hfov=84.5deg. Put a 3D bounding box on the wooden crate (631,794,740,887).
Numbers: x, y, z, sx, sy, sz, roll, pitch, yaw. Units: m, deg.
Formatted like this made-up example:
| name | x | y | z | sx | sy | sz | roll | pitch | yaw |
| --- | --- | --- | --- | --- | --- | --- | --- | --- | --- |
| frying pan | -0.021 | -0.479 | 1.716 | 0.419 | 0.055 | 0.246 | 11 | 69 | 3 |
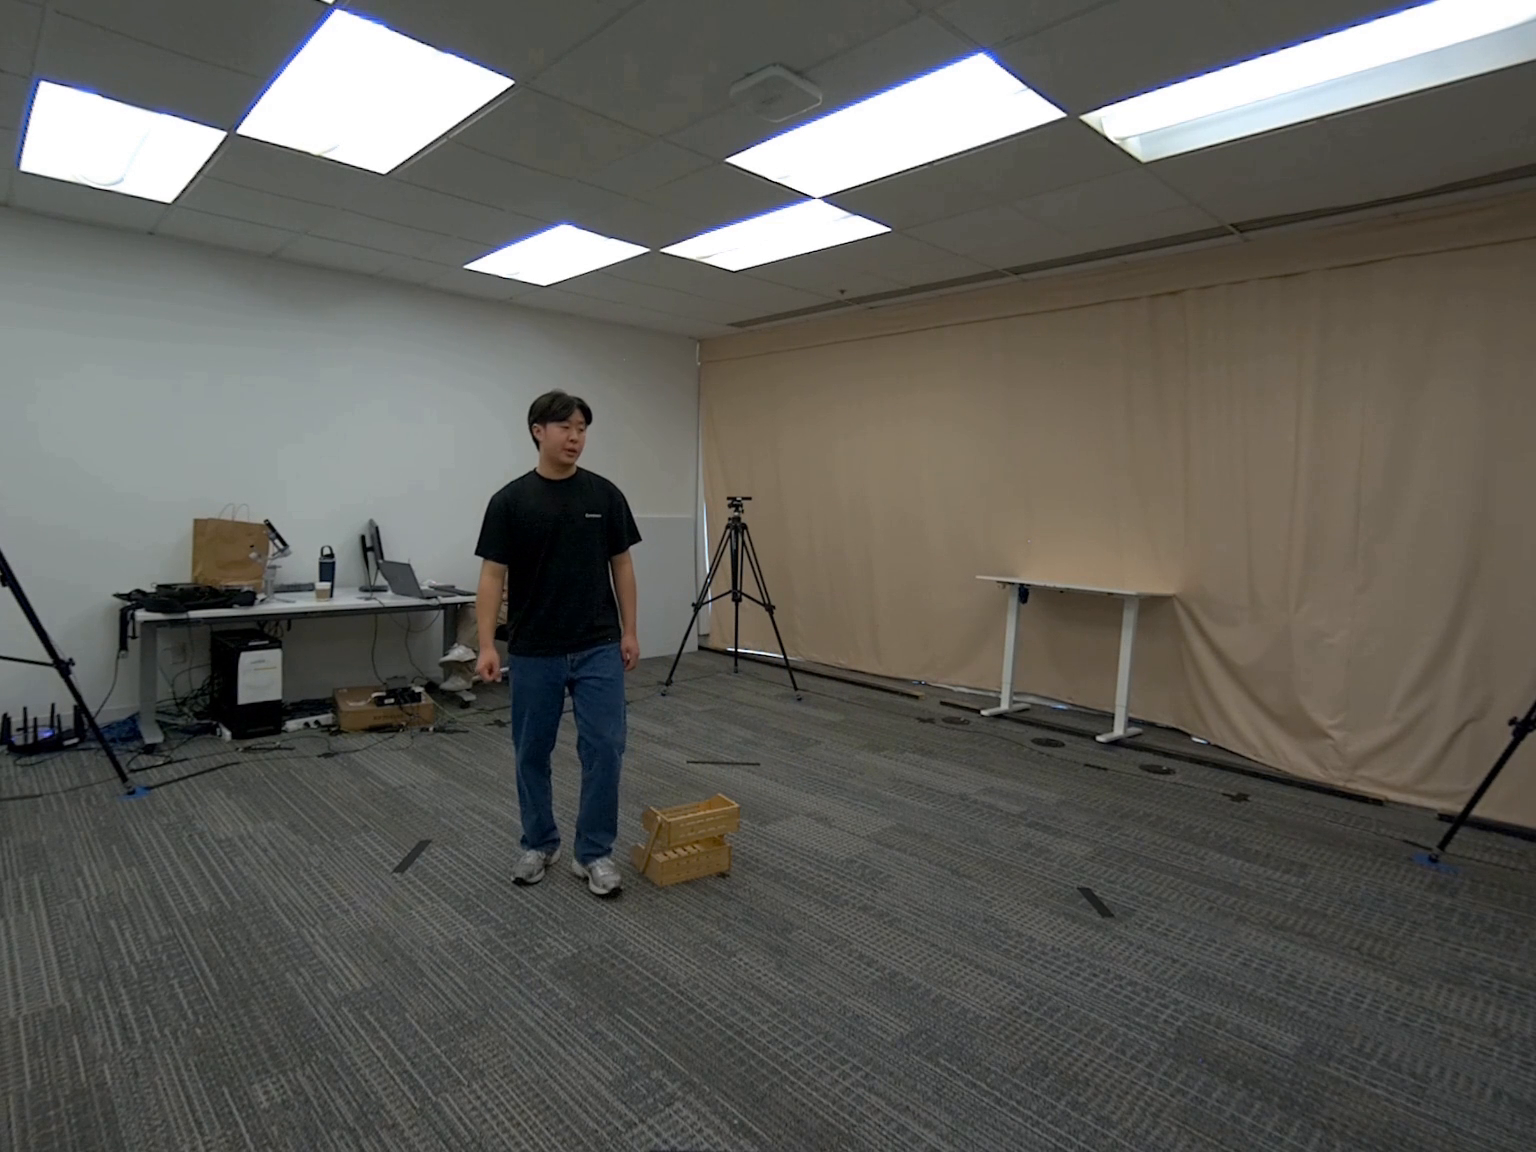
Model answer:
| name | x | y | z | sx | sy | sz | roll | pitch | yaw |
| --- | --- | --- | --- | --- | --- | --- | --- | --- | --- |
| wooden crate | -0.324 | 0.963 | 3.155 | 0.317 | 0.272 | 0.309 | -2 | 6 | -34 |
